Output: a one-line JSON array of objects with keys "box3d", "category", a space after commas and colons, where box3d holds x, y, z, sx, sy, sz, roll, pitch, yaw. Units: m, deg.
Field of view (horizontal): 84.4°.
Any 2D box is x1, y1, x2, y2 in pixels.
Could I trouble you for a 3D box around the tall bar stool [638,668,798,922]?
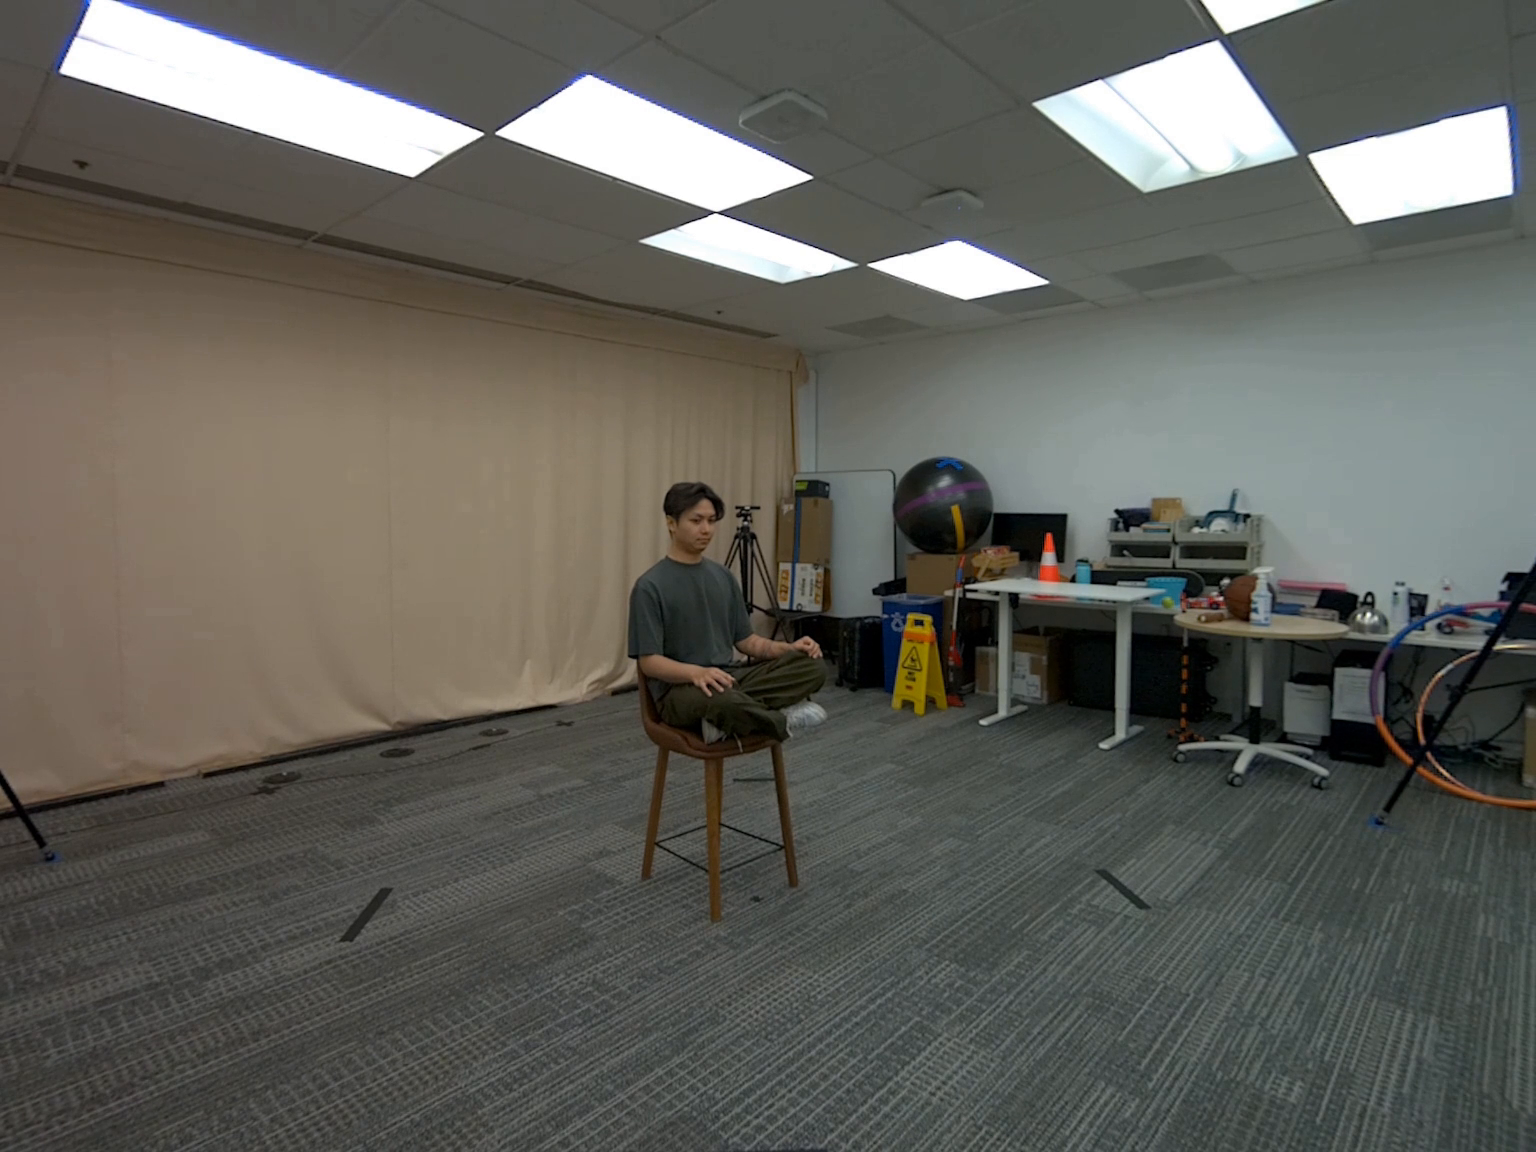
[{"box3d": [-0.196, 0.701, 3.102, 0.442, 0.889, 0.482, -4, 2, -43], "category": "tall bar stool"}]
